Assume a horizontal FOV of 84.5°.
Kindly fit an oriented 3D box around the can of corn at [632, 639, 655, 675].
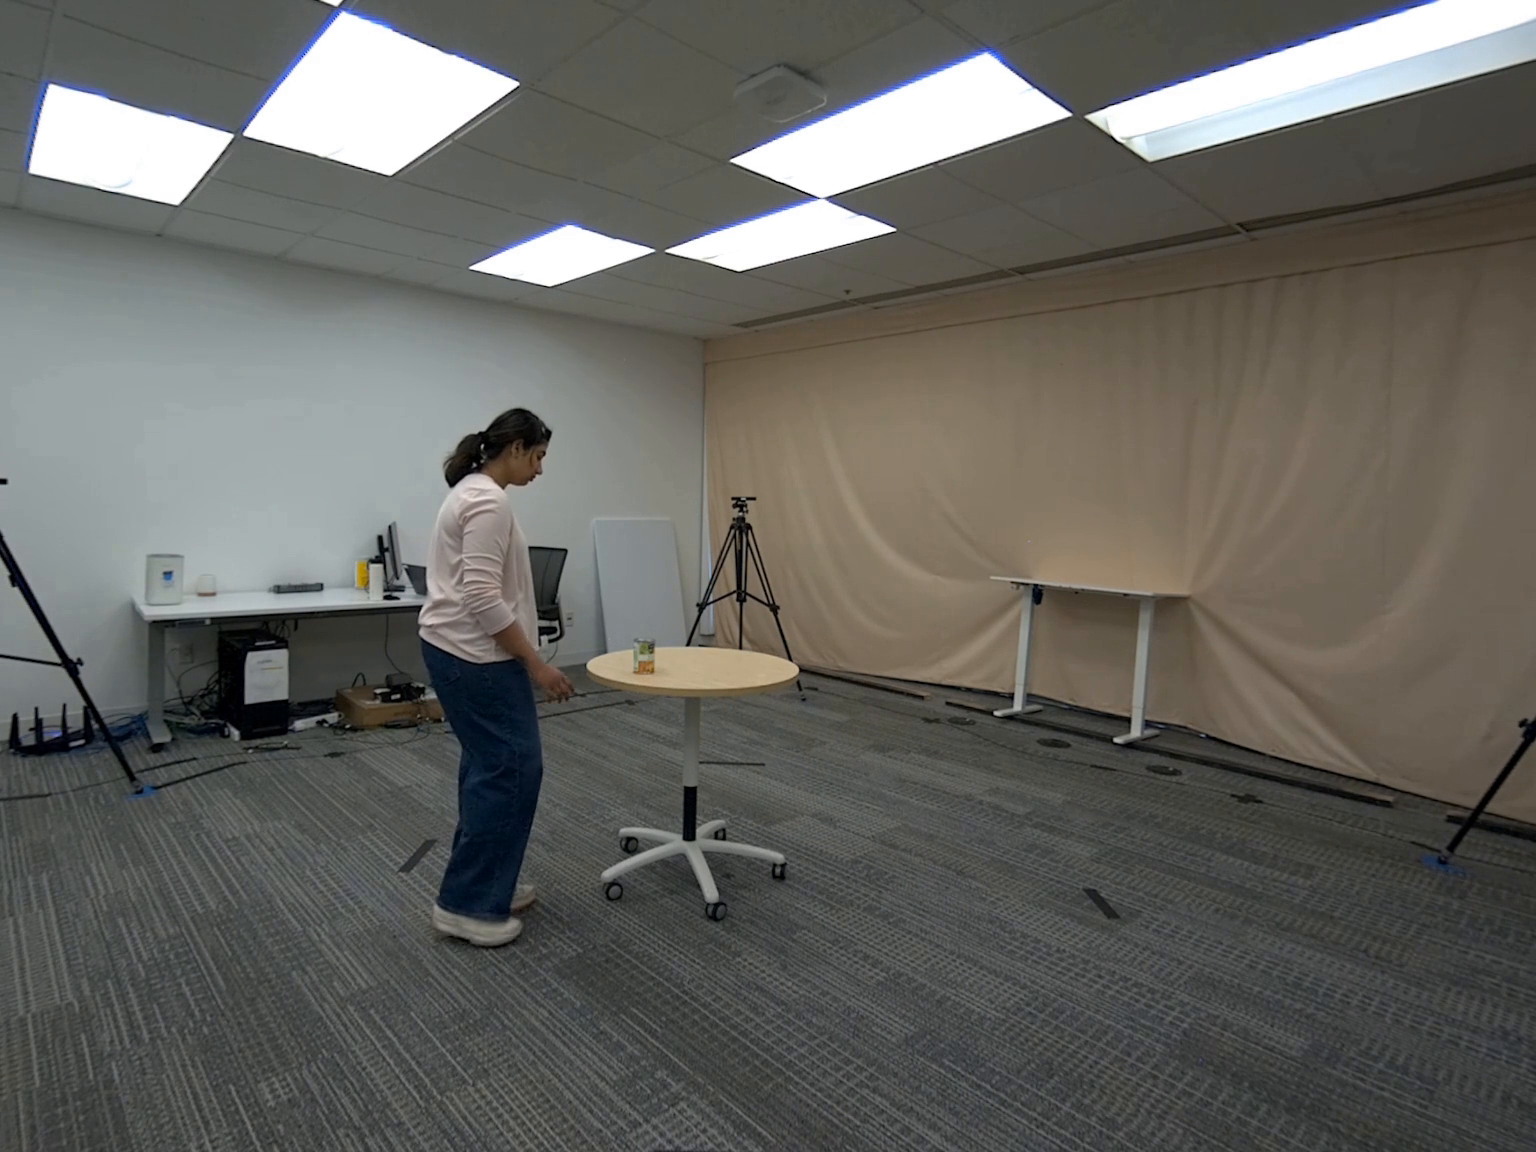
[{"bbox_3d":[-0.431,0.281,2.894,0.074,0.111,0.074,2,4,-2],"label":"can of corn"}]
